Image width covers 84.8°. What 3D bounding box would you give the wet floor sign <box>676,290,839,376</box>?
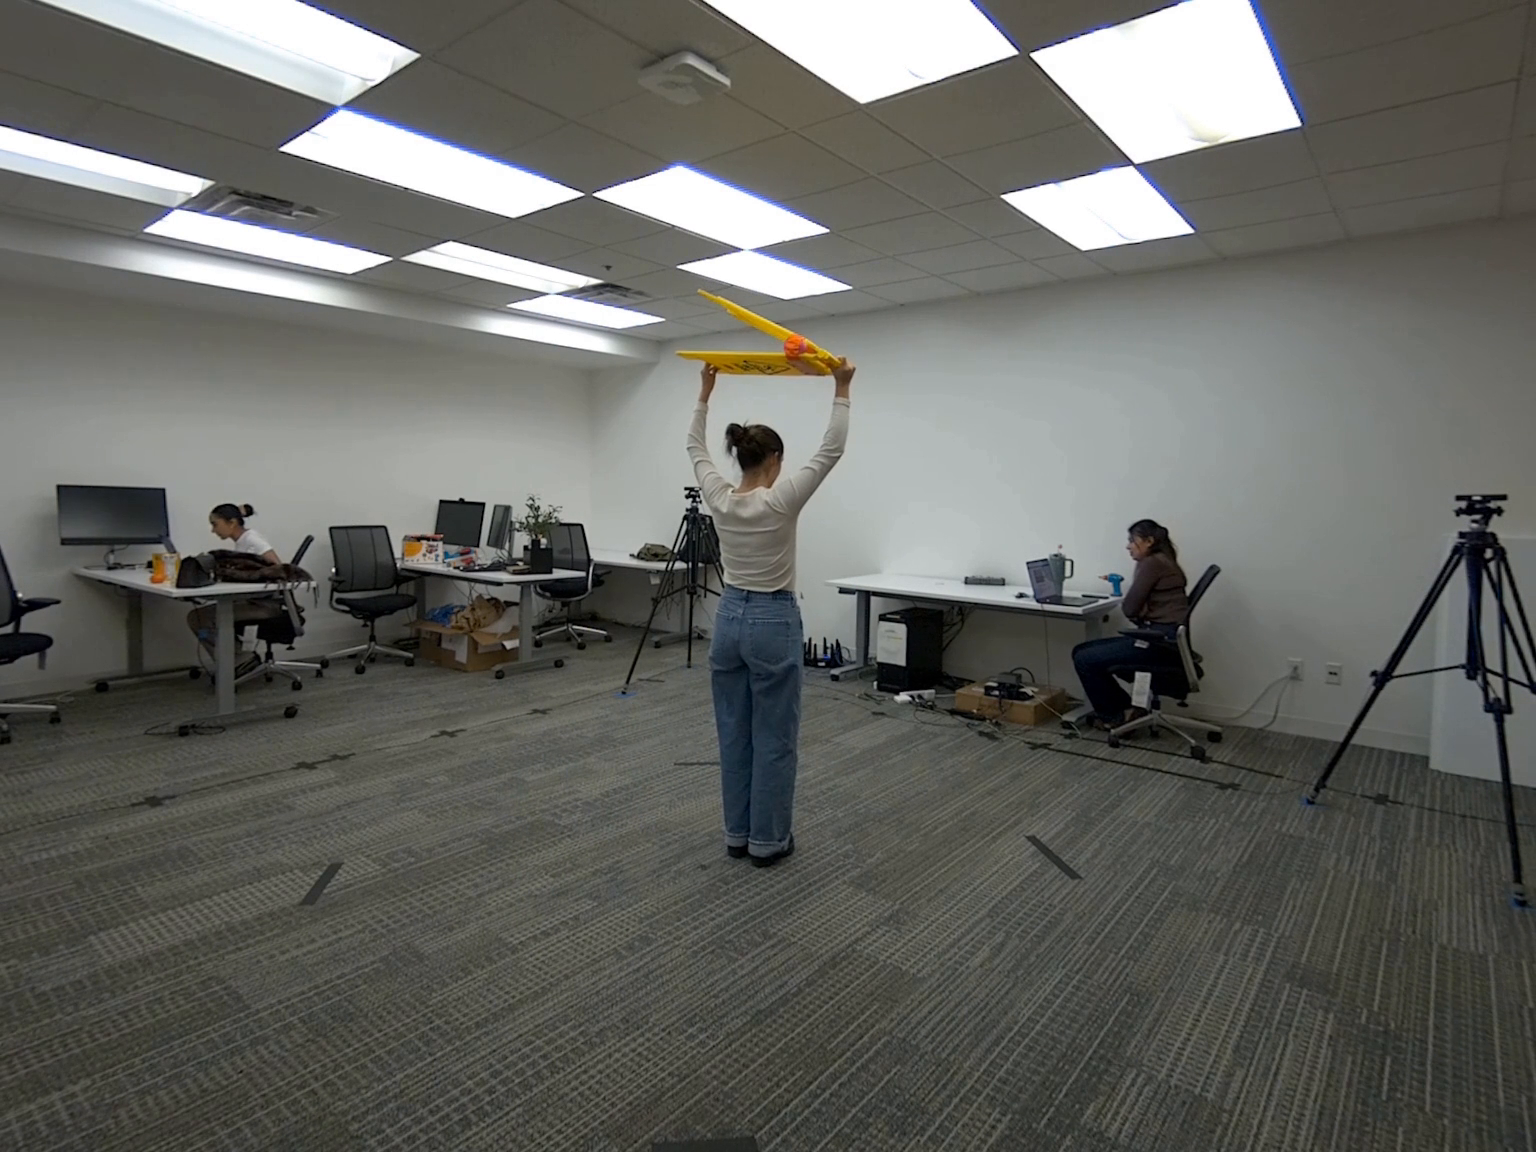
[{"bbox_3d":[0.009,-0.858,3.179,0.671,0.289,0.272,22,5,34],"label":"wet floor sign"}]
